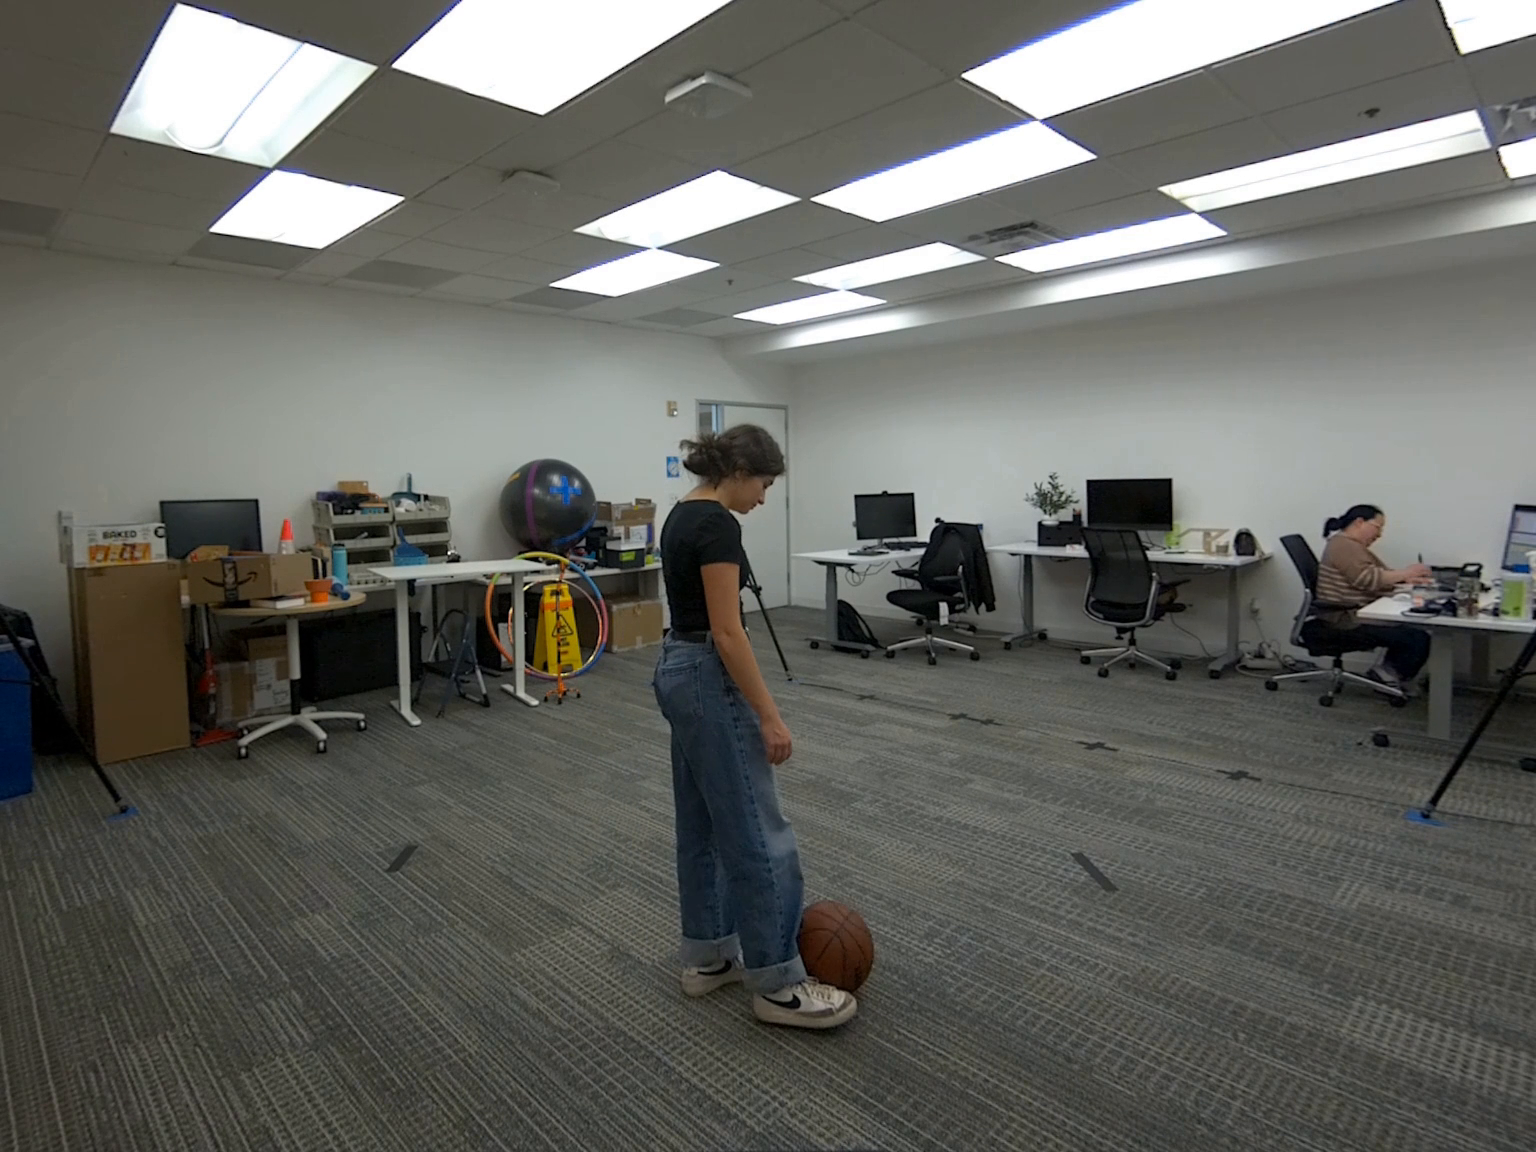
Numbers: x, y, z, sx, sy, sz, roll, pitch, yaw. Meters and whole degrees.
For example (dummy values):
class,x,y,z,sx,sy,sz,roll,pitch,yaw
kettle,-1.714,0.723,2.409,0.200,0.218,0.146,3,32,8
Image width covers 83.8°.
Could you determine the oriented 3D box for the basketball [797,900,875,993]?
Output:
class,x,y,z,sx,sy,sz,roll,pitch,yaw
basketball,0.171,1.004,2.328,0.236,0.235,0.237,-1,5,-2
